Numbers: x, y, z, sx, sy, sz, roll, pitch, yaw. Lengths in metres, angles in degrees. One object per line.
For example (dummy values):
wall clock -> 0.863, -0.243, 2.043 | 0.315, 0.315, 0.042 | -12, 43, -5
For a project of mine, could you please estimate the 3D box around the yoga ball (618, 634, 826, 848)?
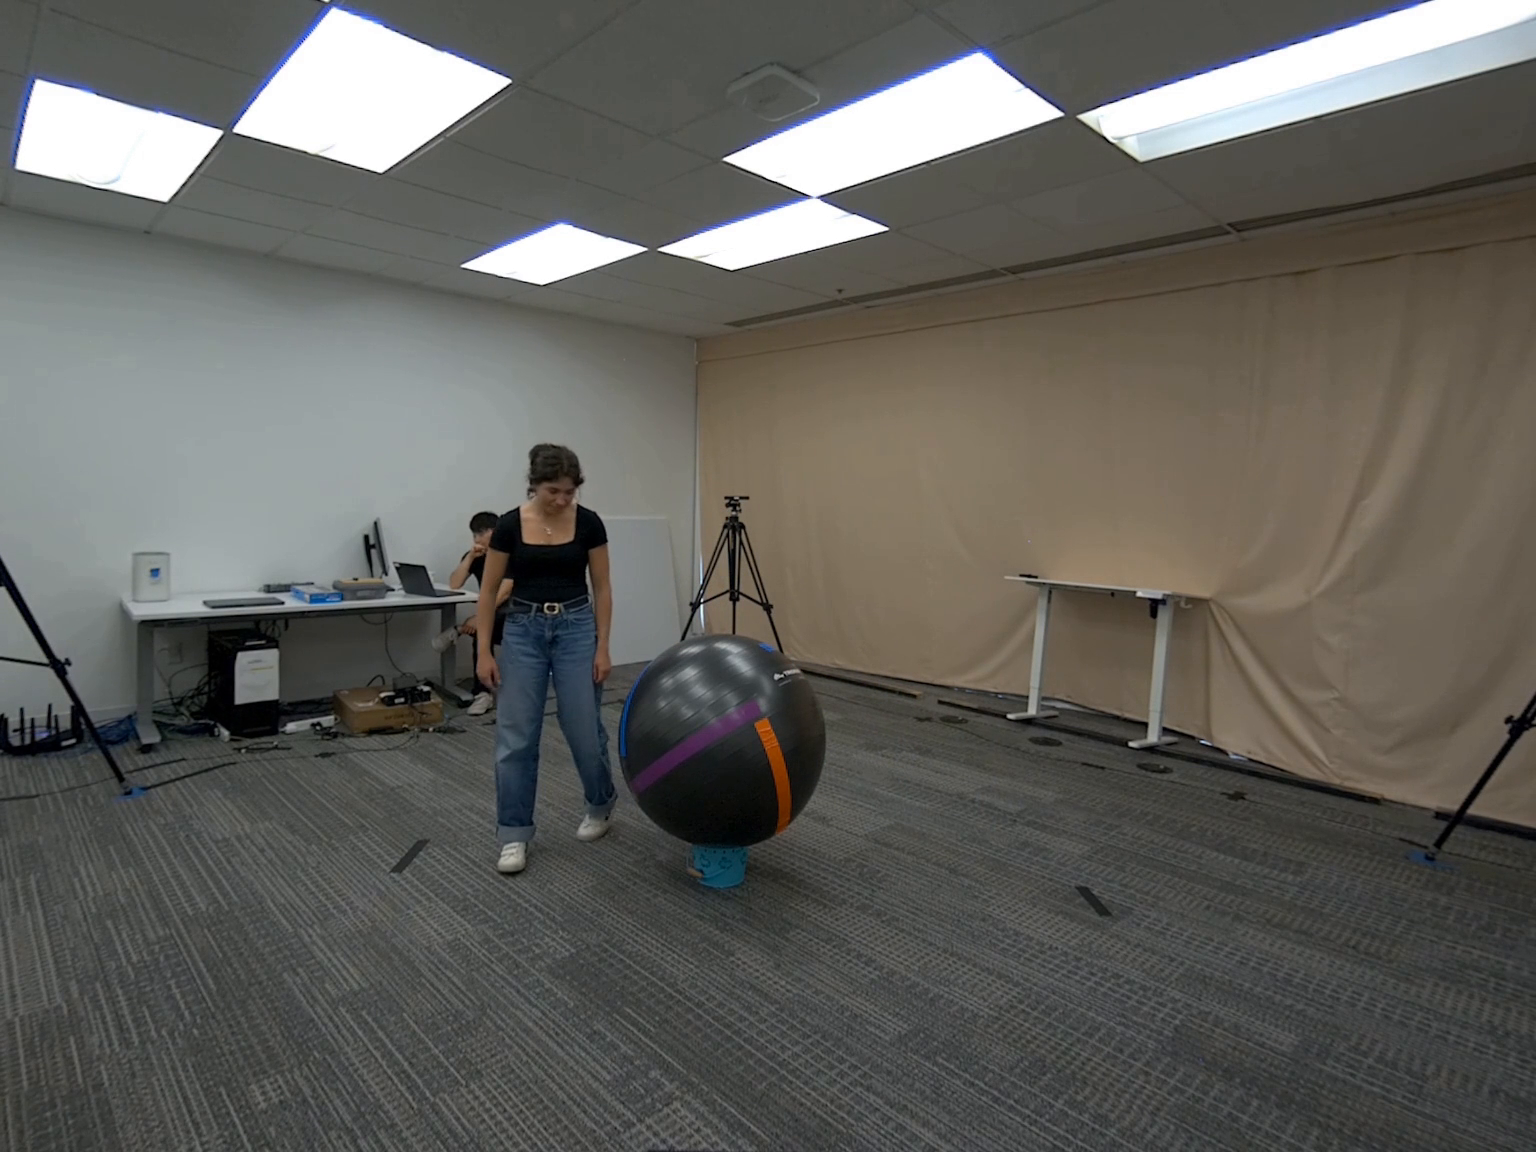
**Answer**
yoga ball -> -0.170, 0.593, 3.068 | 0.757, 0.756, 0.760 | 1, 4, -1
